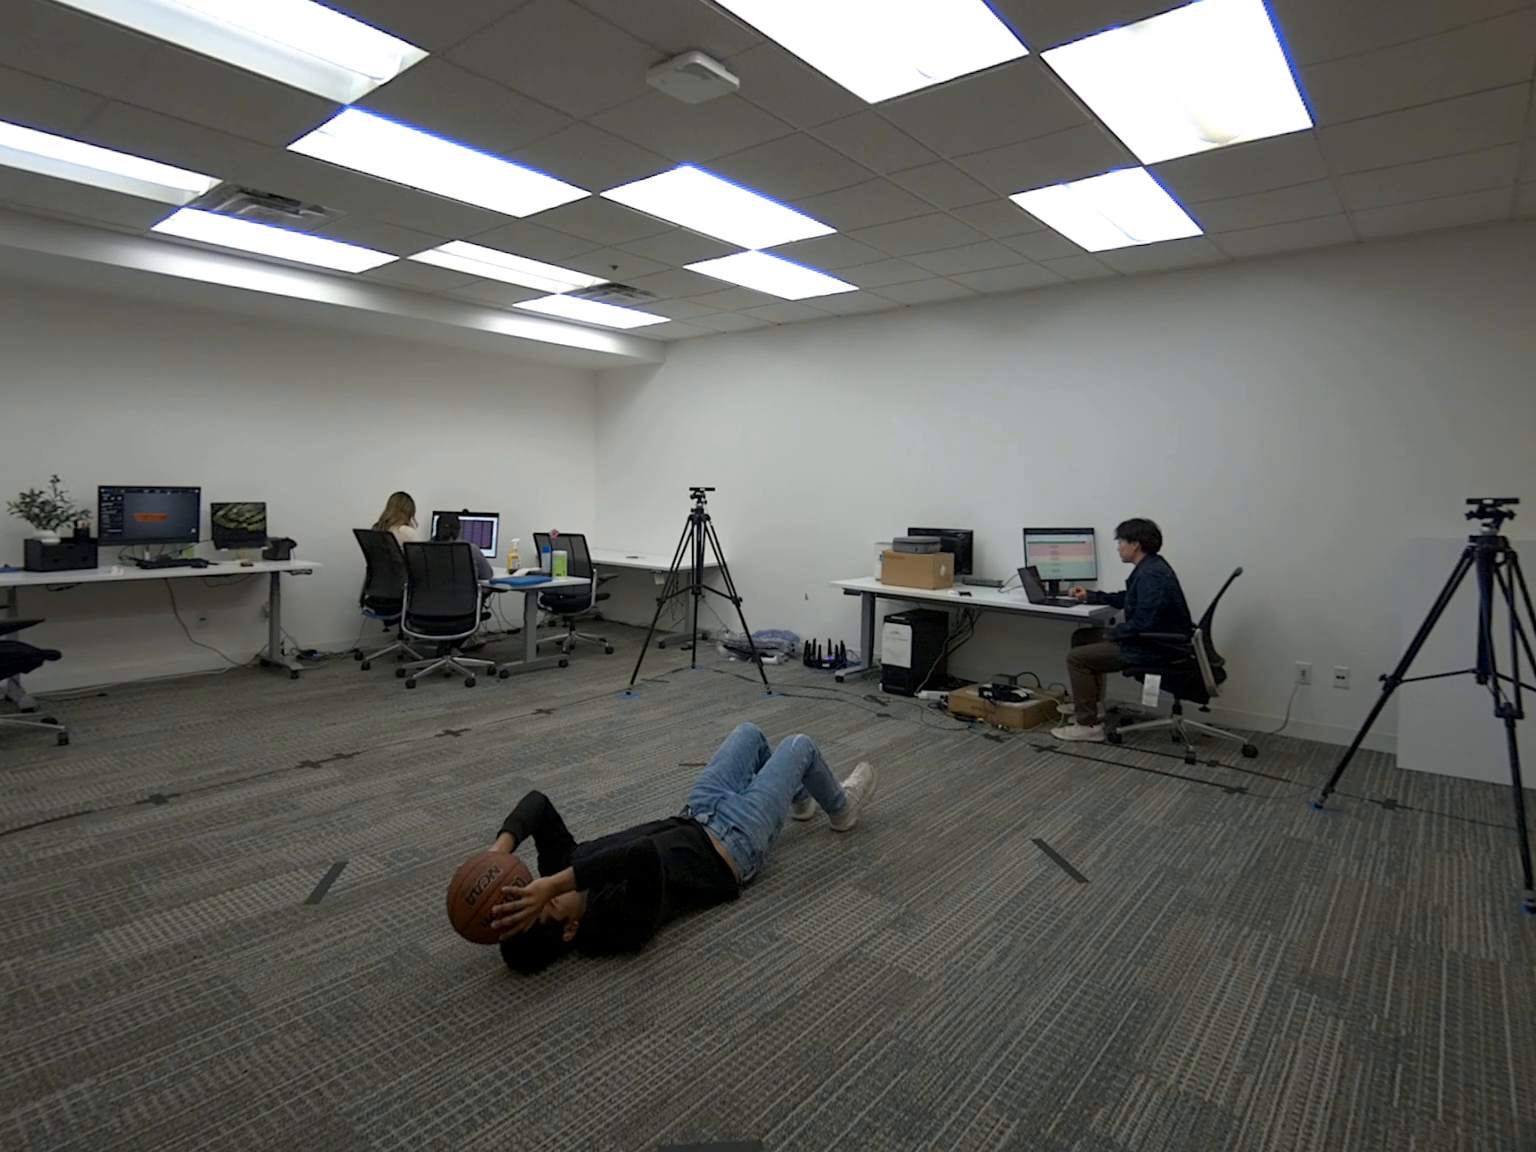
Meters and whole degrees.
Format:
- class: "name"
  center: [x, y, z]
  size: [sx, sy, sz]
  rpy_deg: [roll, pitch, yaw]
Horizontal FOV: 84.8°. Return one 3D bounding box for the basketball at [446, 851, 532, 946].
- class: "basketball"
  center: [-0.774, 0.882, 2.352]
  size: [0.235, 0.235, 0.237]
  rpy_deg: [1, 4, -2]
